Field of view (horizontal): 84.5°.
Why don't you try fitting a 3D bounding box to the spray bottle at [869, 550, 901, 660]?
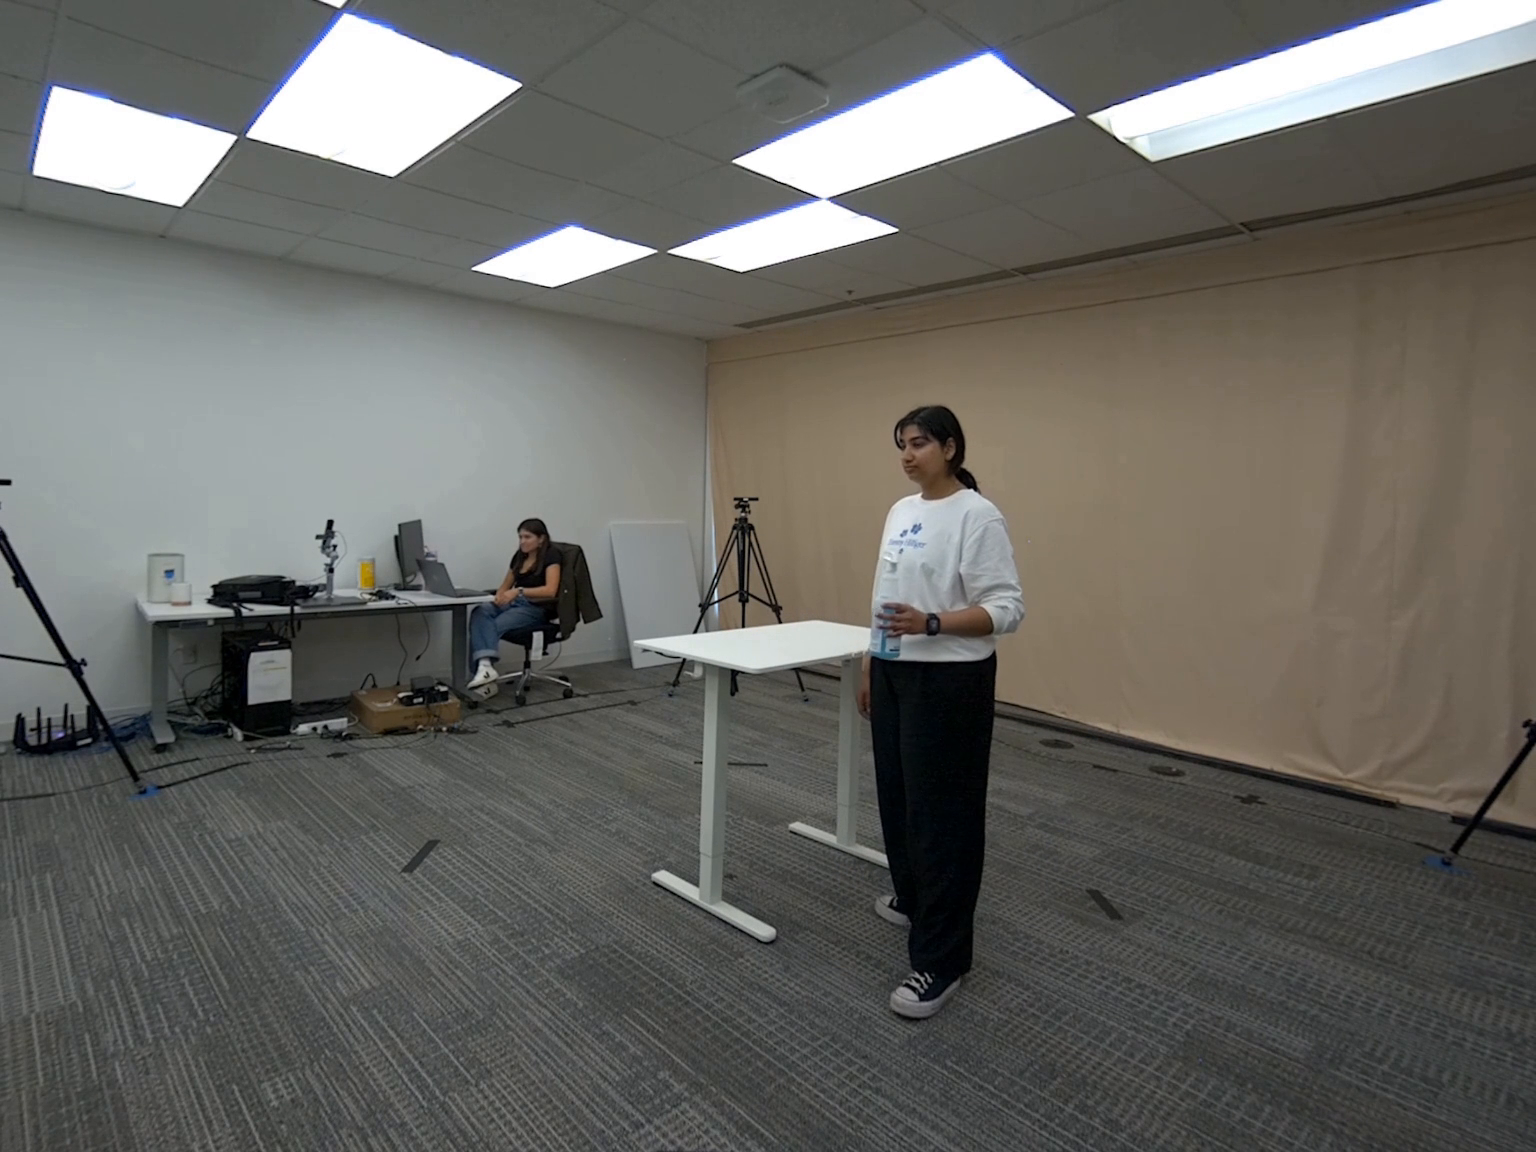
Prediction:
[{"bbox_3d":[0.335,0.078,2.371,0.088,0.297,0.089,1,1,17],"label":"spray bottle"}]
